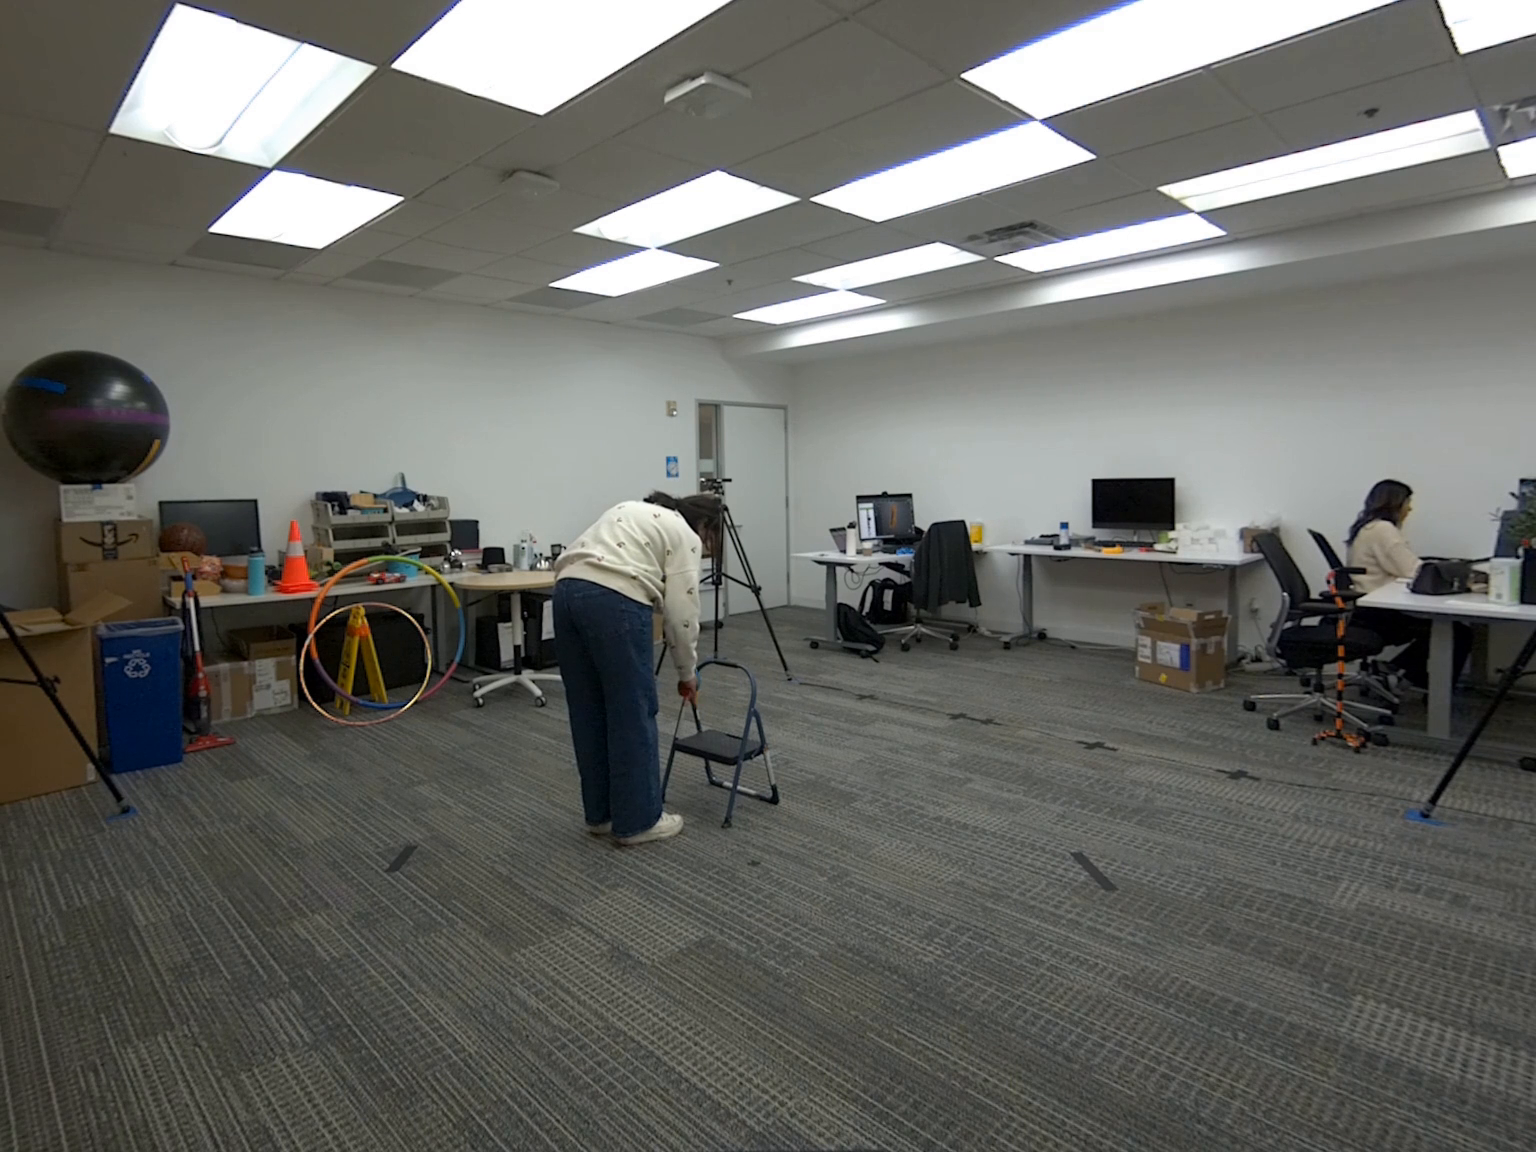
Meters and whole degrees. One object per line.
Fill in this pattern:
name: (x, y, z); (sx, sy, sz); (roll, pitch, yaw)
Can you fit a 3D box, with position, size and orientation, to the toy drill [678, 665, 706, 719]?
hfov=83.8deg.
toy drill: (-0.315, 0.475, 3.553); (0.062, 0.167, 0.146); (1, 16, 13)
